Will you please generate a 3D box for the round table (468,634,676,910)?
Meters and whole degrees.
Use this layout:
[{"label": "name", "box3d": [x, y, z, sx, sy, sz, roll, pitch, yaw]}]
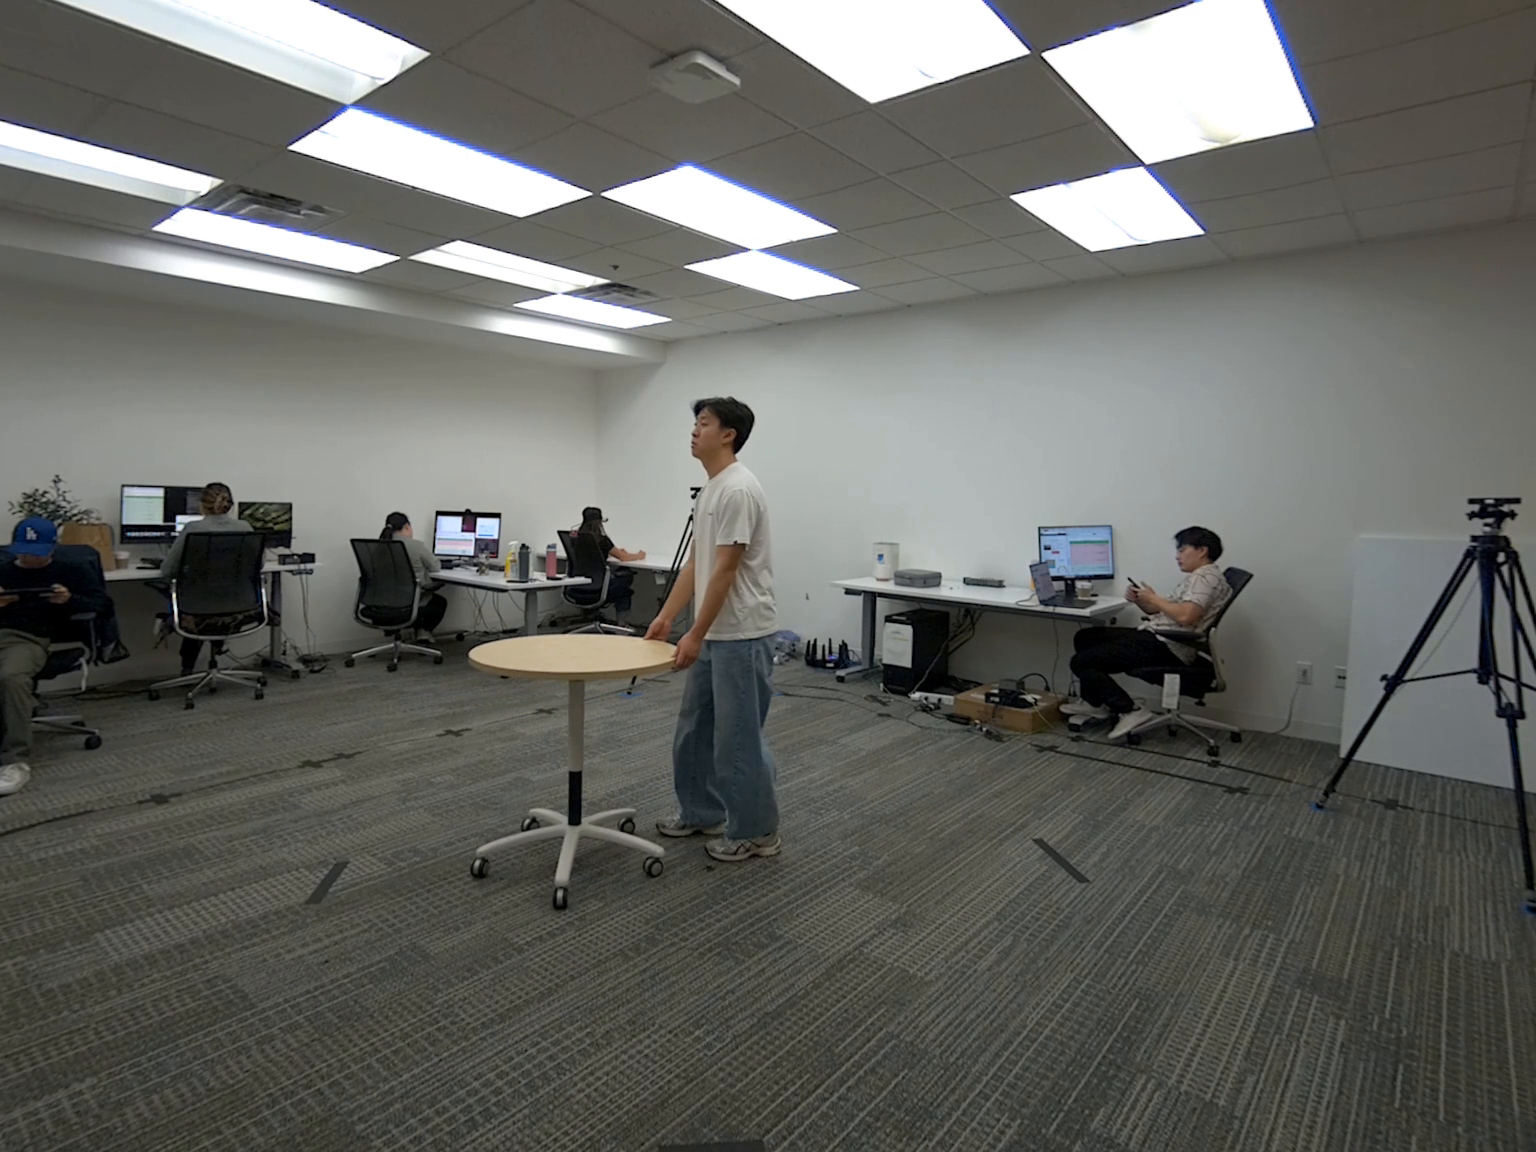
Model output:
[{"label": "round table", "box3d": [-0.718, 0.666, 3.127, 0.763, 0.792, 0.767, 1, 3, -2]}]
